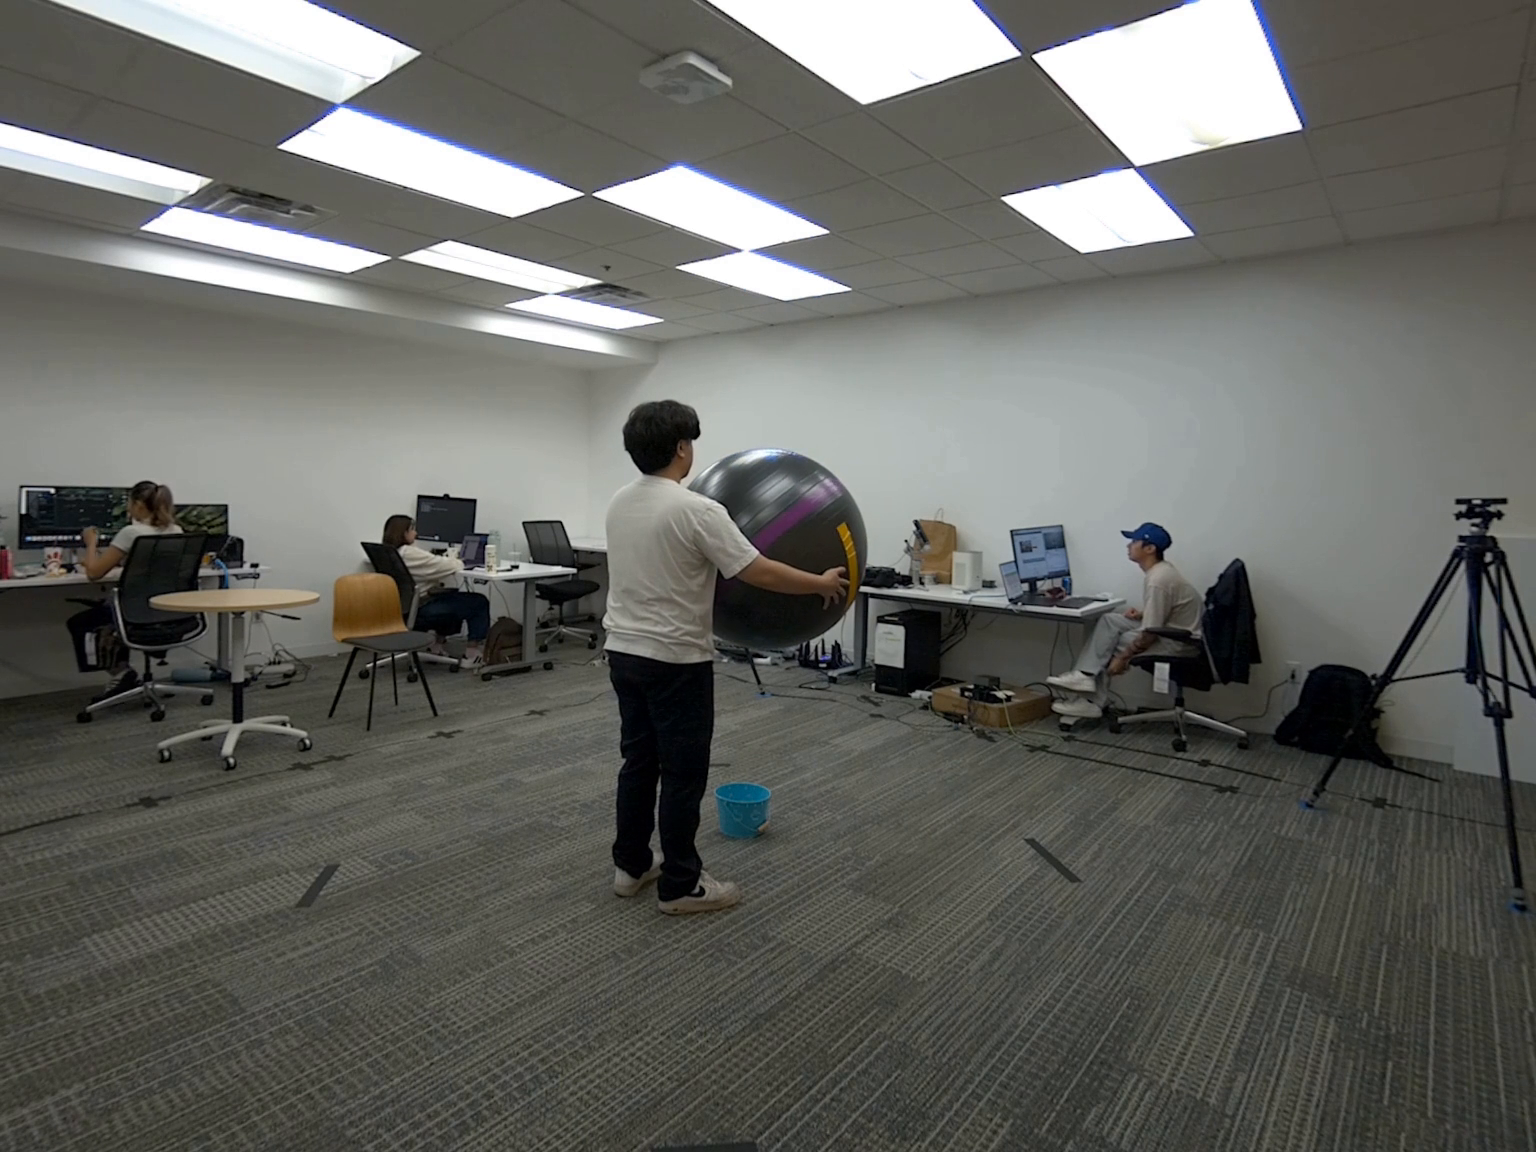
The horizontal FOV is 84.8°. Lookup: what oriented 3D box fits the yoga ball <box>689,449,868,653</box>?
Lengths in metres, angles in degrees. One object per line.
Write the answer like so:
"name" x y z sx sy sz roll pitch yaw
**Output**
"yoga ball" -0.005 -0.103 3.224 0.757 0.755 0.762 1 4 -2
